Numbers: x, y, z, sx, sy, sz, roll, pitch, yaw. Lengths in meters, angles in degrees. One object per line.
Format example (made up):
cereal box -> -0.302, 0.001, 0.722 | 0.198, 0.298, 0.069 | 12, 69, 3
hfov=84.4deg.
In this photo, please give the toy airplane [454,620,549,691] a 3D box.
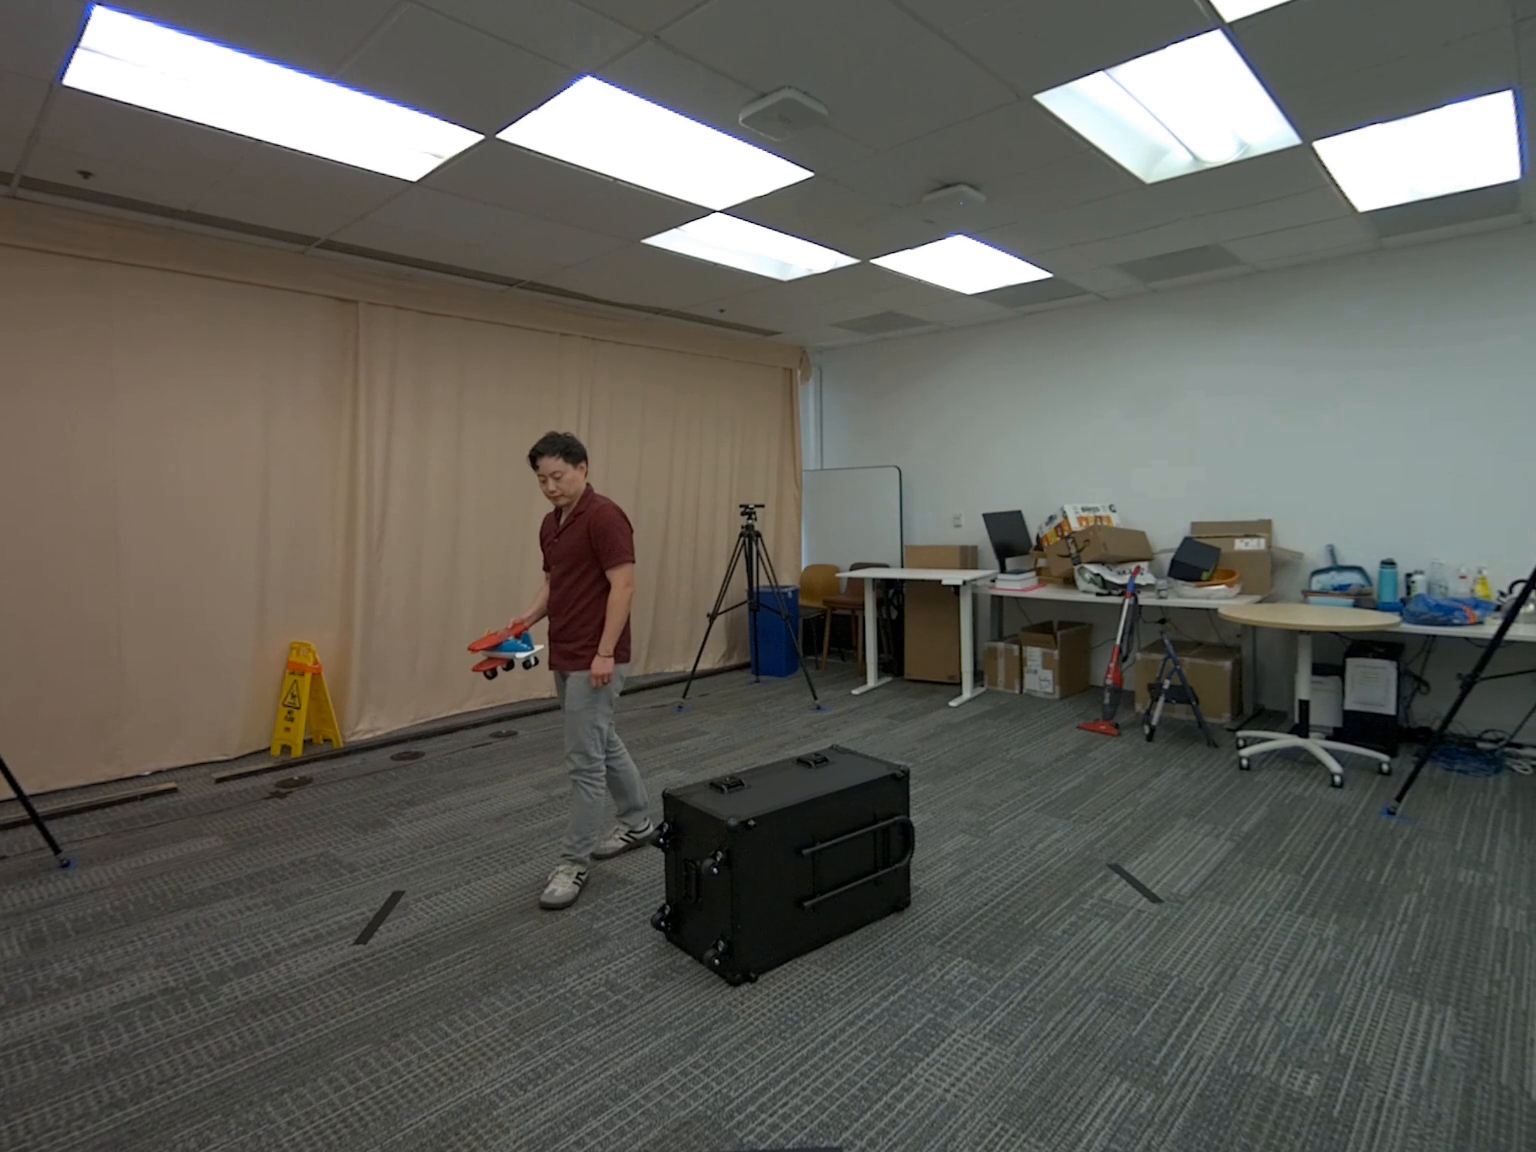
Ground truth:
toy airplane -> -0.932, 0.268, 3.042 | 0.261, 0.156, 0.251 | -18, 5, 6
